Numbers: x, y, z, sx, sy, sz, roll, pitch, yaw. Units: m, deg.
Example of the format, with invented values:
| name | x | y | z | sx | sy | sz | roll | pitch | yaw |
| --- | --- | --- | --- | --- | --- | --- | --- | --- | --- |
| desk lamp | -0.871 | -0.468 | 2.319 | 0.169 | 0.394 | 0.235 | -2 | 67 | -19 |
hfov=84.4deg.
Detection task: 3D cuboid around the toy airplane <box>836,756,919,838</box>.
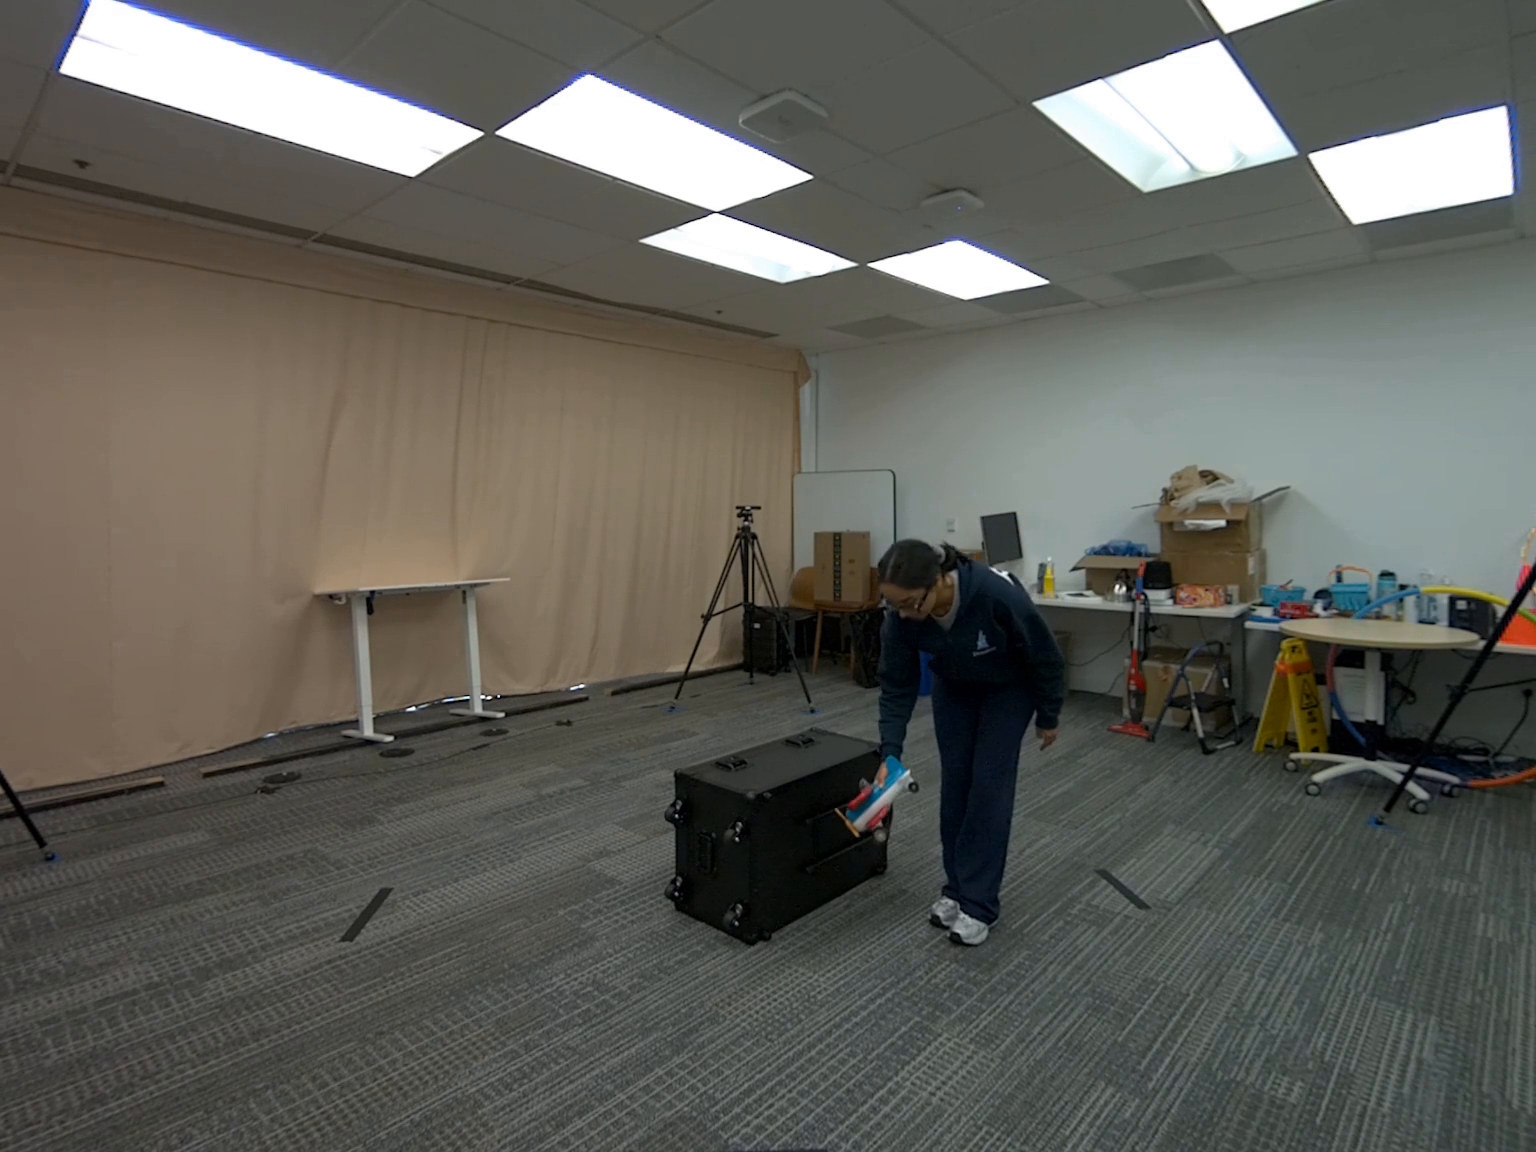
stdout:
| name | x | y | z | sx | sy | sz | roll | pitch | yaw |
| --- | --- | --- | --- | --- | --- | --- | --- | --- | --- |
| toy airplane | 0.369 | 0.693 | 2.639 | 0.160 | 0.258 | 0.247 | 31 | -30 | 17 |
